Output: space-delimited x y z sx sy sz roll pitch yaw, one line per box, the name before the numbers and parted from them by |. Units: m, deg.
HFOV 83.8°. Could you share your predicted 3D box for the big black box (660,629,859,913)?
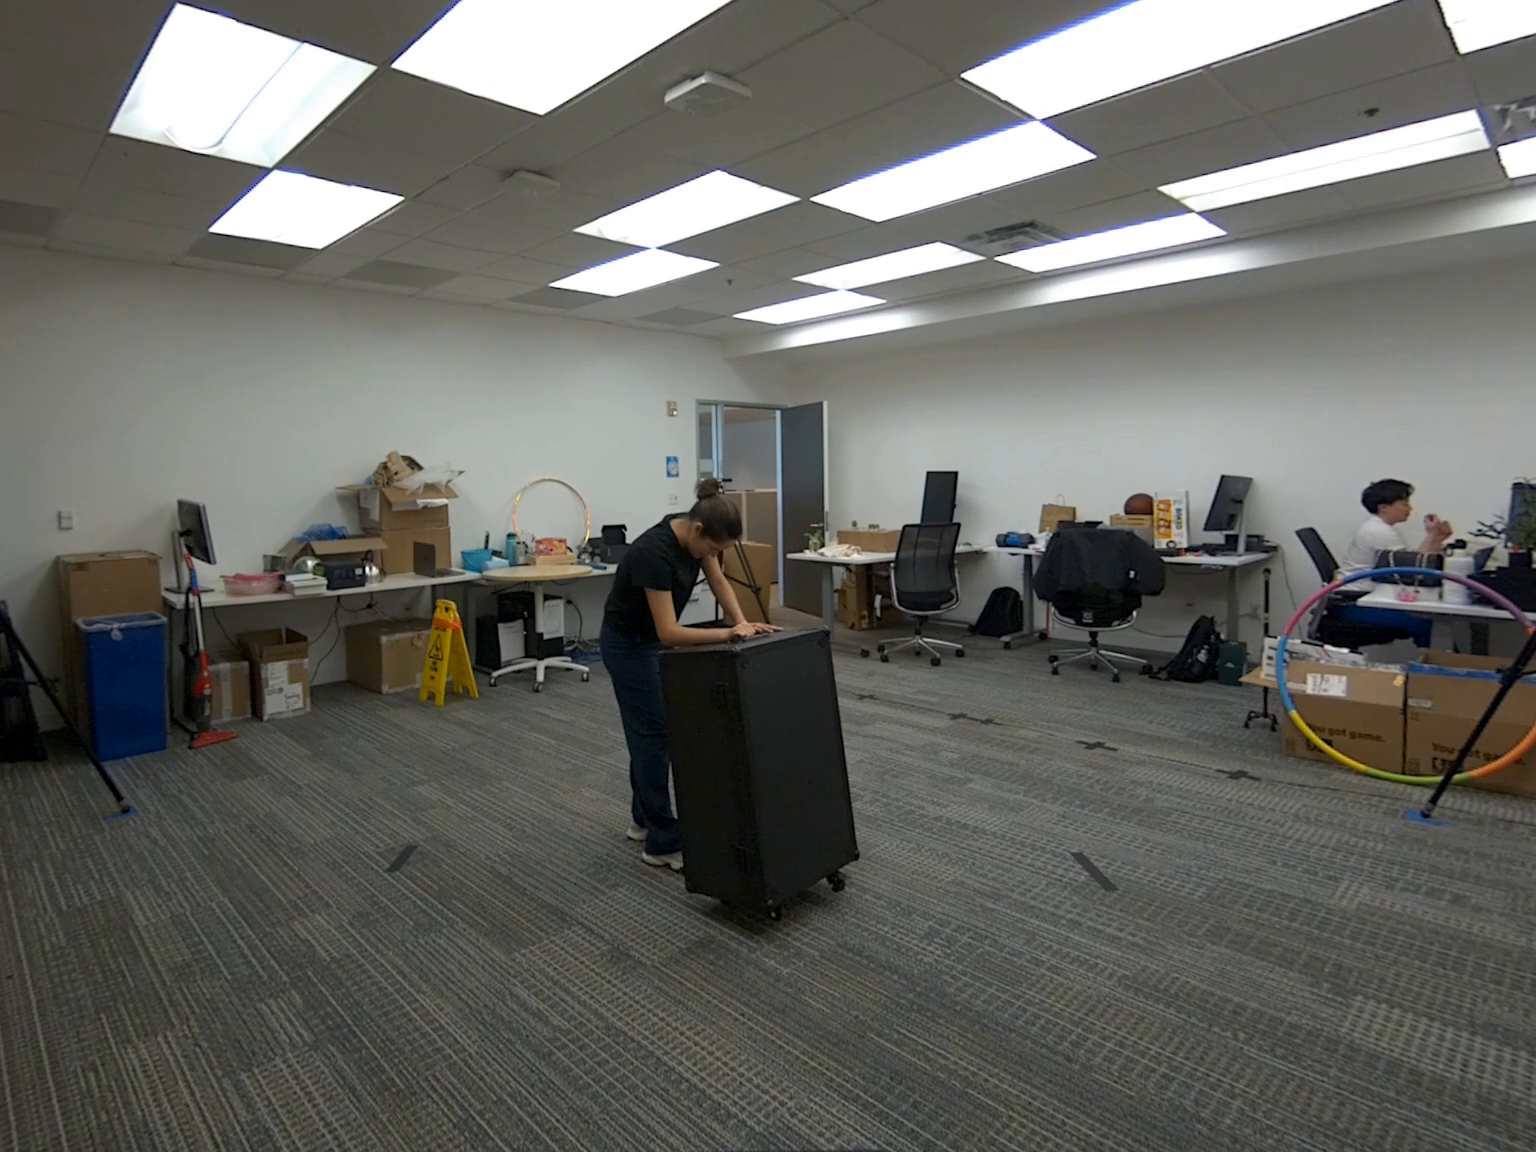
big black box | -0.015 0.634 2.849 0.406 0.863 0.507 -8 -2 42
